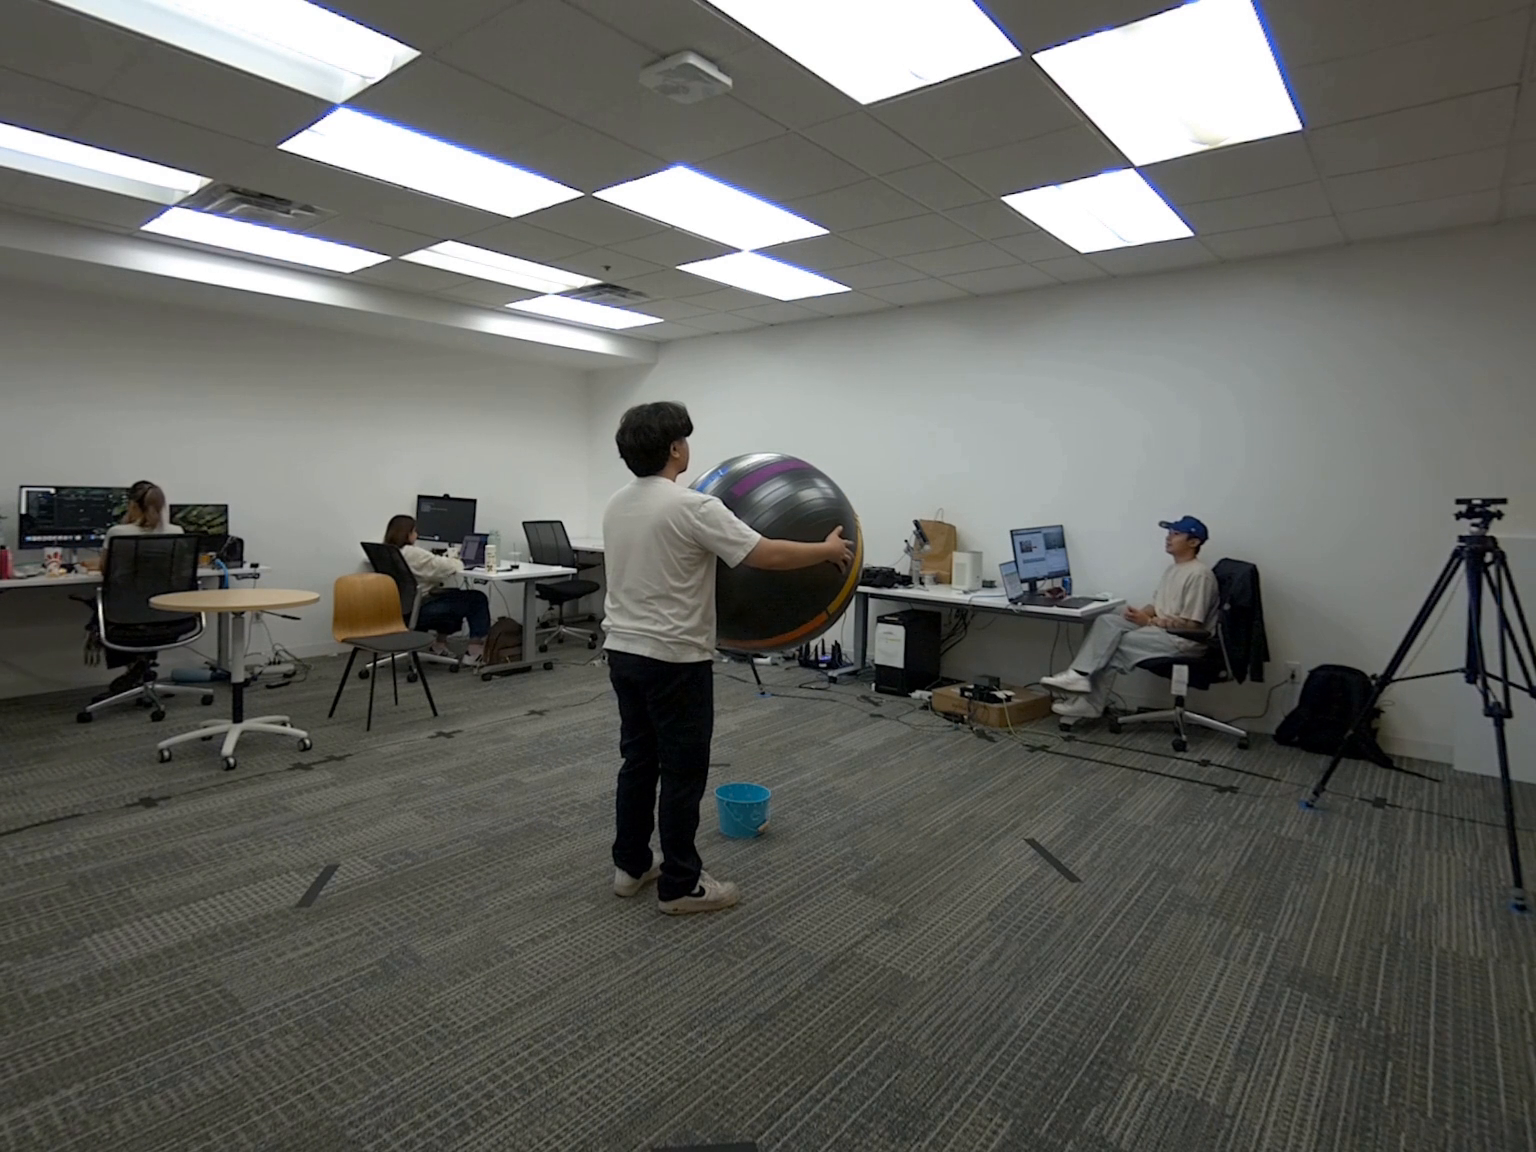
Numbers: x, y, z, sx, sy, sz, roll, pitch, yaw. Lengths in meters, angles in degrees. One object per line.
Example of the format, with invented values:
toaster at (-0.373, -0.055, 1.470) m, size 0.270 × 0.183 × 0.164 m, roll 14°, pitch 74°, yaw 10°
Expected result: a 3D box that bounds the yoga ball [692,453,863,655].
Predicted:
yoga ball at (-0.020, -0.088, 3.247) m, size 0.757 × 0.755 × 0.762 m, roll 1°, pitch 4°, yaw -2°
